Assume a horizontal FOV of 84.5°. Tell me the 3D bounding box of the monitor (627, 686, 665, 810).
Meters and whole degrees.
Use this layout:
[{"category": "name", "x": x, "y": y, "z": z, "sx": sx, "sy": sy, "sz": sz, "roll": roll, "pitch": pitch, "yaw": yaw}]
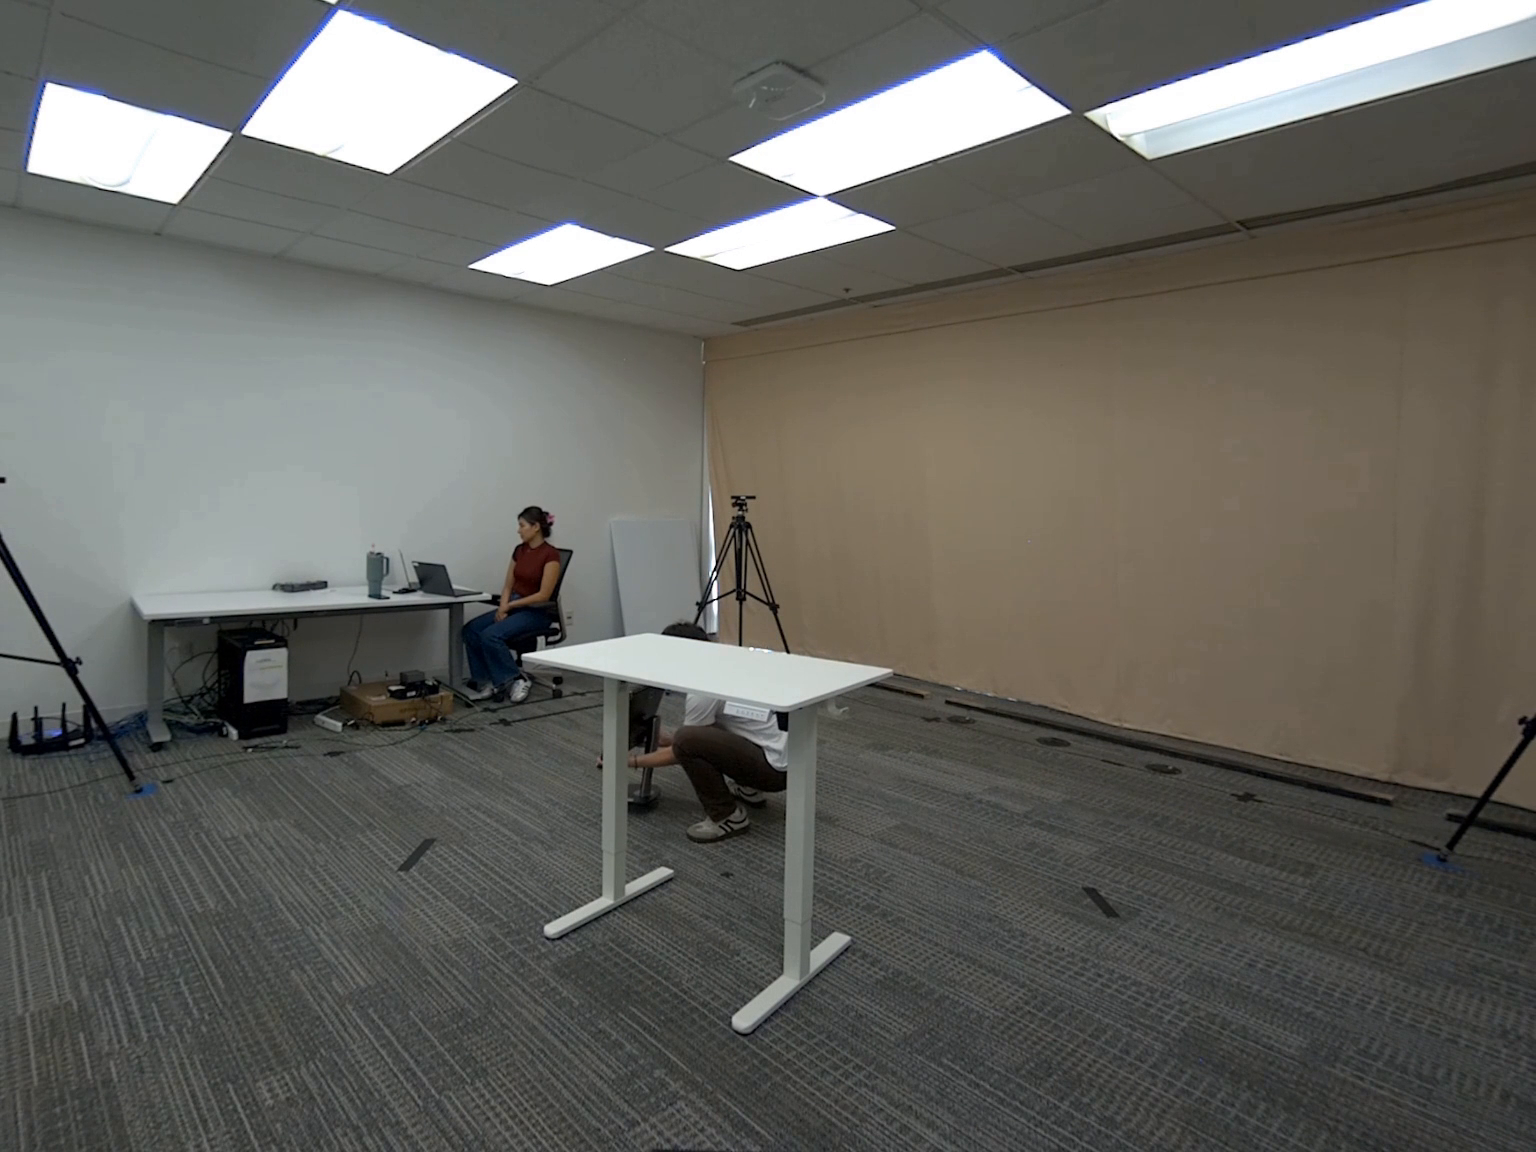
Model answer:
[{"category": "monitor", "x": -0.572, "y": 0.736, "z": 3.781, "sx": 0.189, "sy": 0.523, "sz": 0.533, "roll": 4, "pitch": -2, "yaw": 9}]
